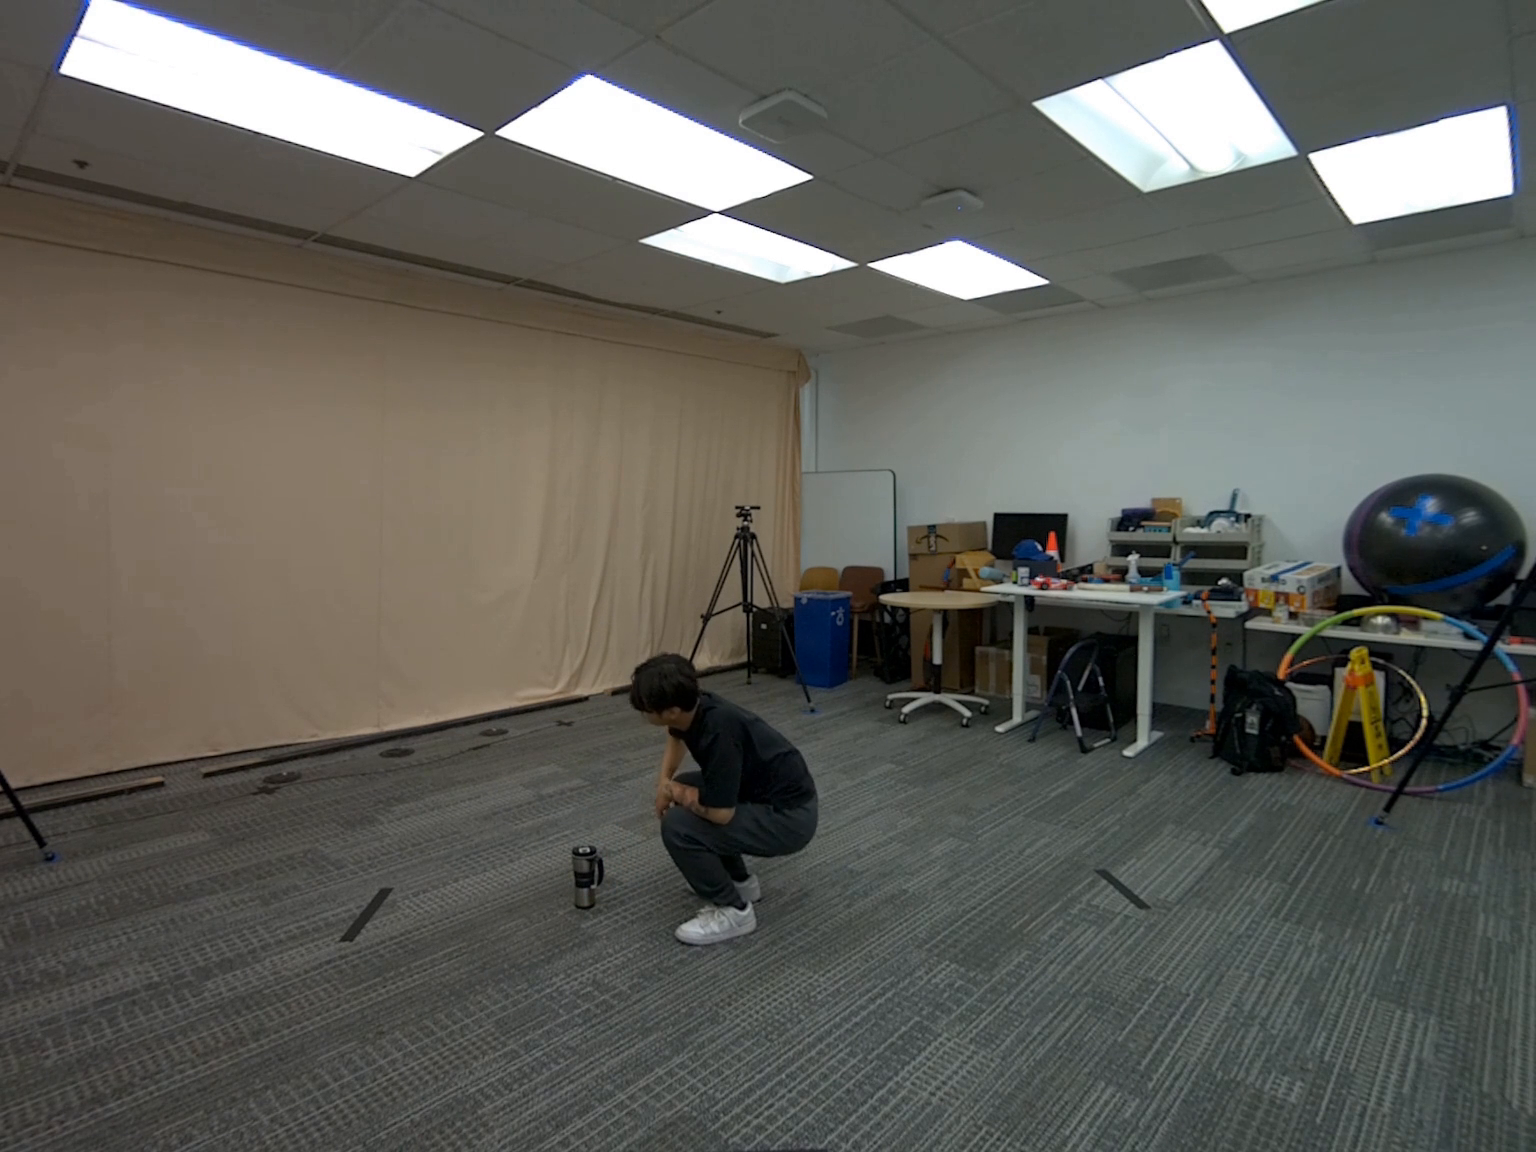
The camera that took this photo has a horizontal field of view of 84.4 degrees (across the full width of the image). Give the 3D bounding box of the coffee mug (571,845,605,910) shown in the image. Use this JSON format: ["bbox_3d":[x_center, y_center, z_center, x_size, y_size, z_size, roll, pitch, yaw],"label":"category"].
[{"bbox_3d":[-0.629,1.060,2.925,0.126,0.203,0.085,0,-2,42],"label":"coffee mug"}]
